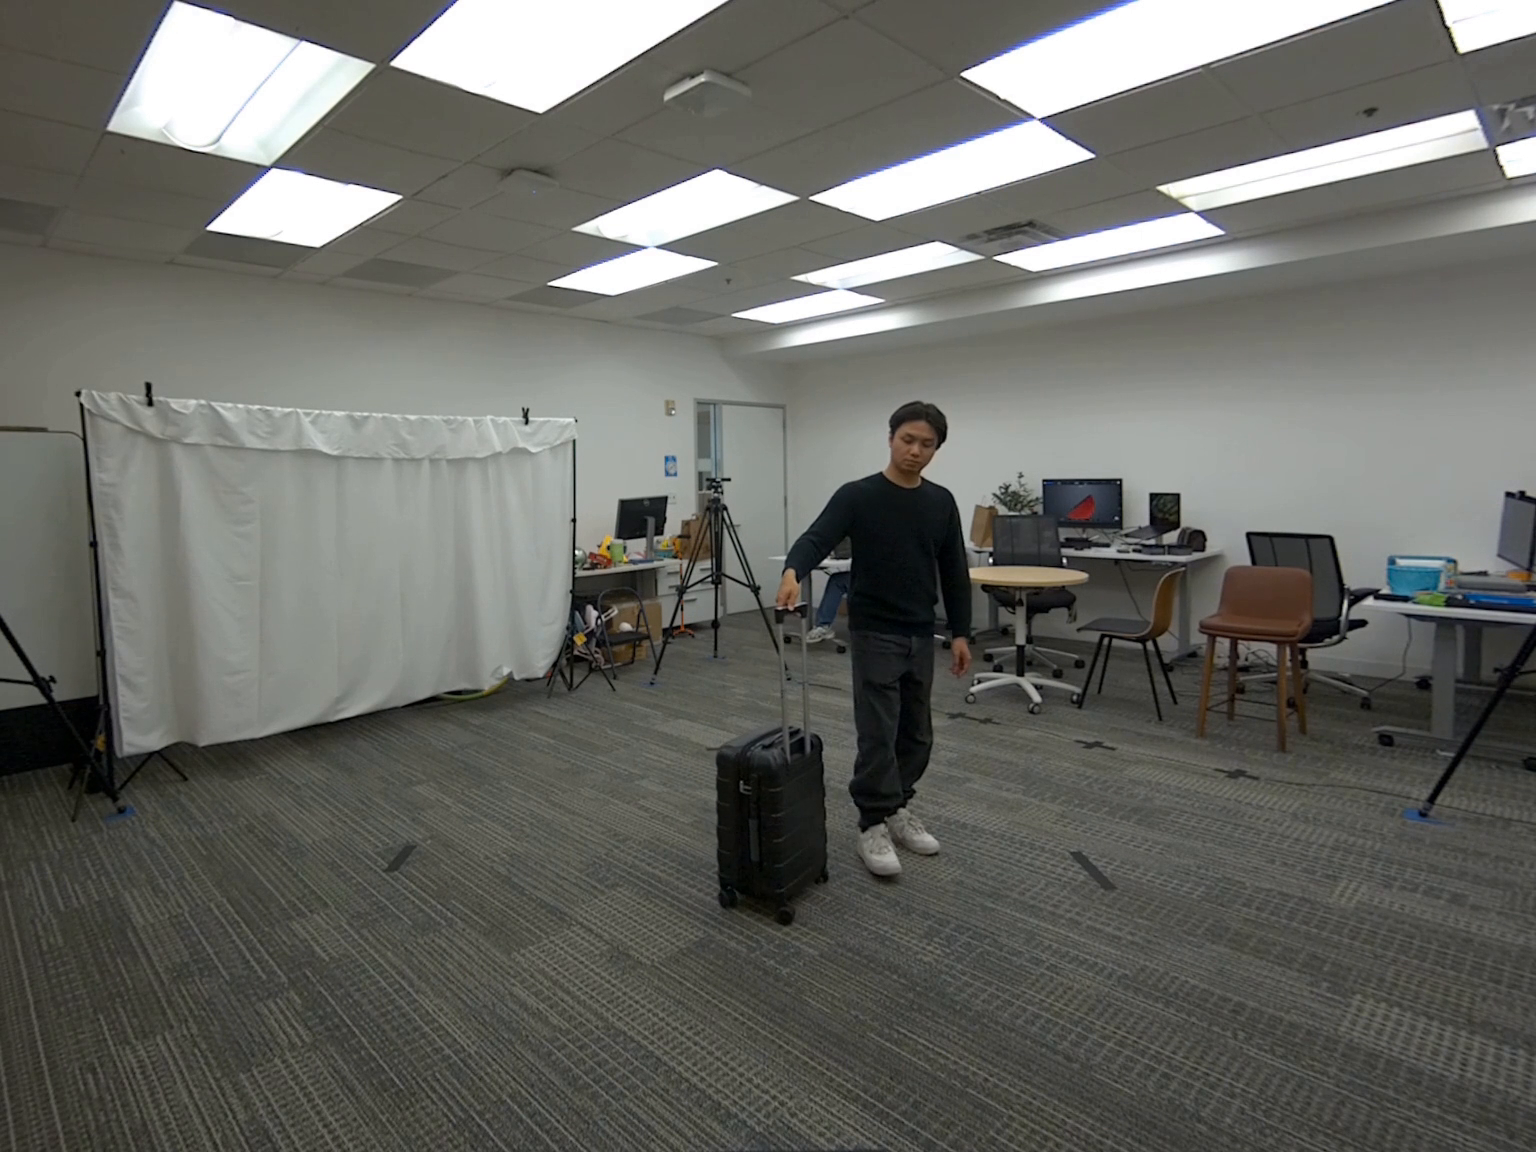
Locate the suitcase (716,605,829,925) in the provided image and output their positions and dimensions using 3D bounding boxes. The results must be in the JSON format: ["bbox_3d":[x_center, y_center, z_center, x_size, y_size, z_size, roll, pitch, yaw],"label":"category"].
[{"bbox_3d":[0.005,0.597,2.843,0.263,0.977,0.375,-2,3,31],"label":"suitcase"}]
